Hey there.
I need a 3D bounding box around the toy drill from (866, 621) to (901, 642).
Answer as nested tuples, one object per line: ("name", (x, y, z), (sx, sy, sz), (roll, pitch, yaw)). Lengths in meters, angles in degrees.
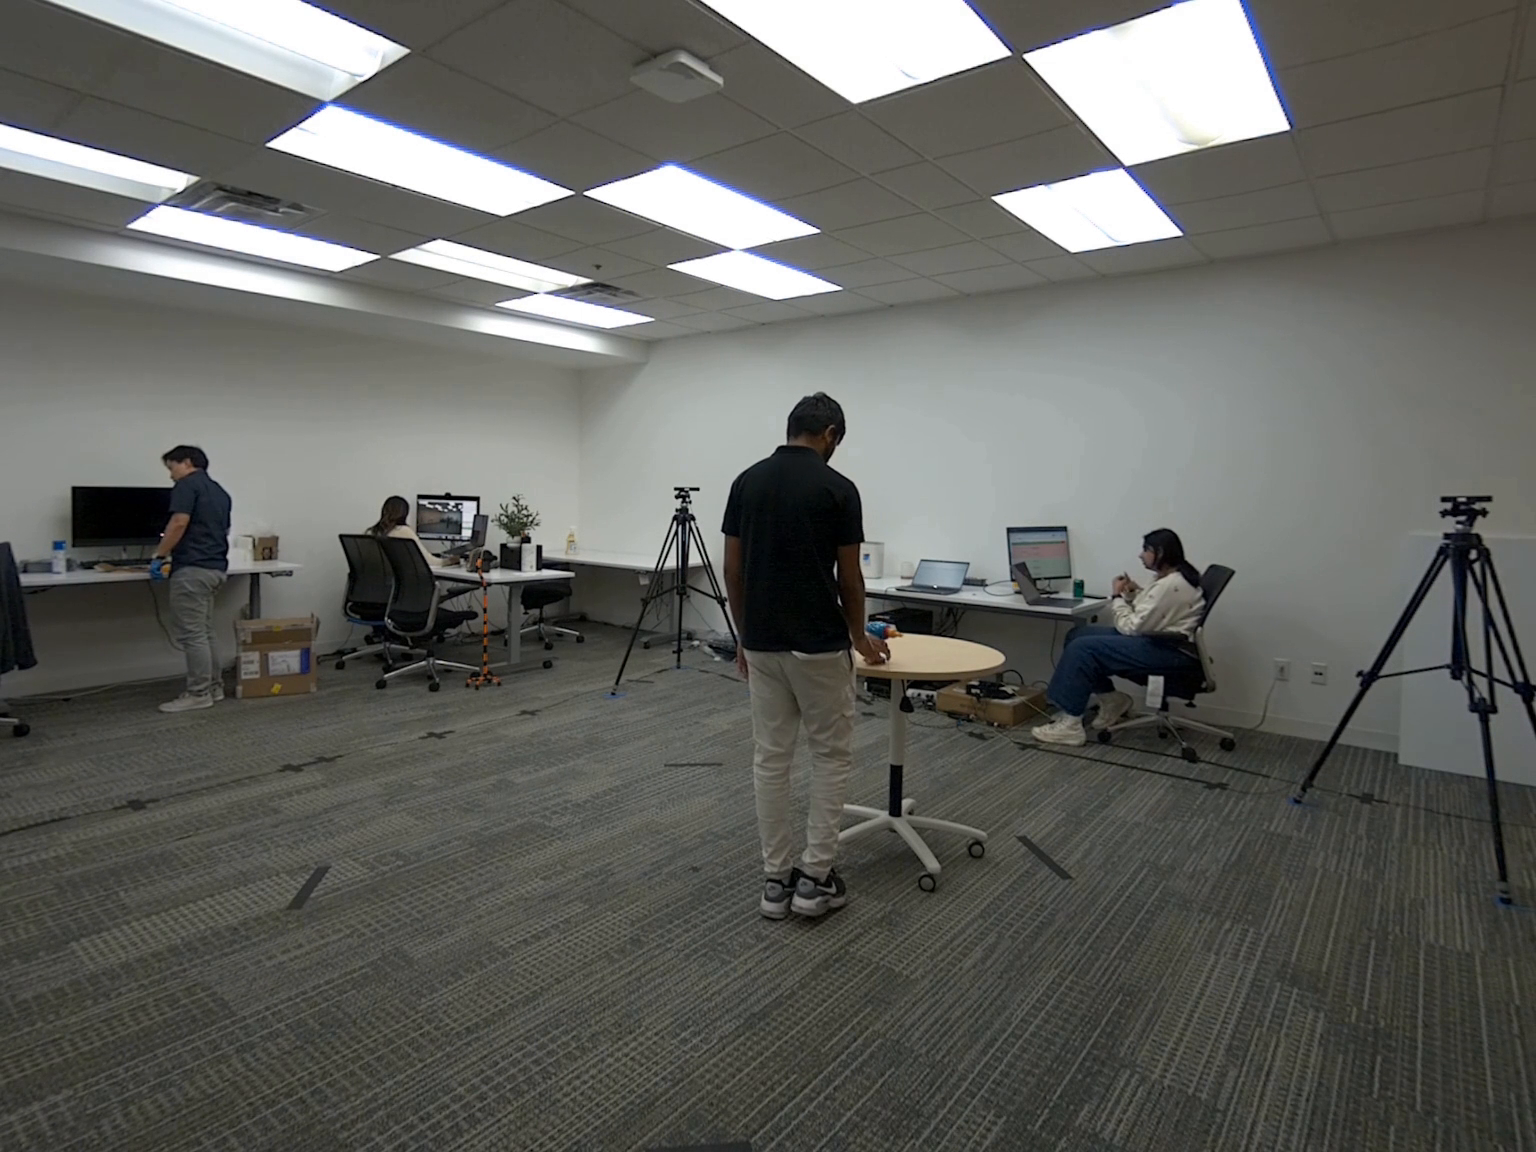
("toy drill", (0.414, 0.234, 3.022), (0.059, 0.145, 0.176), (-1, 5, -40))
